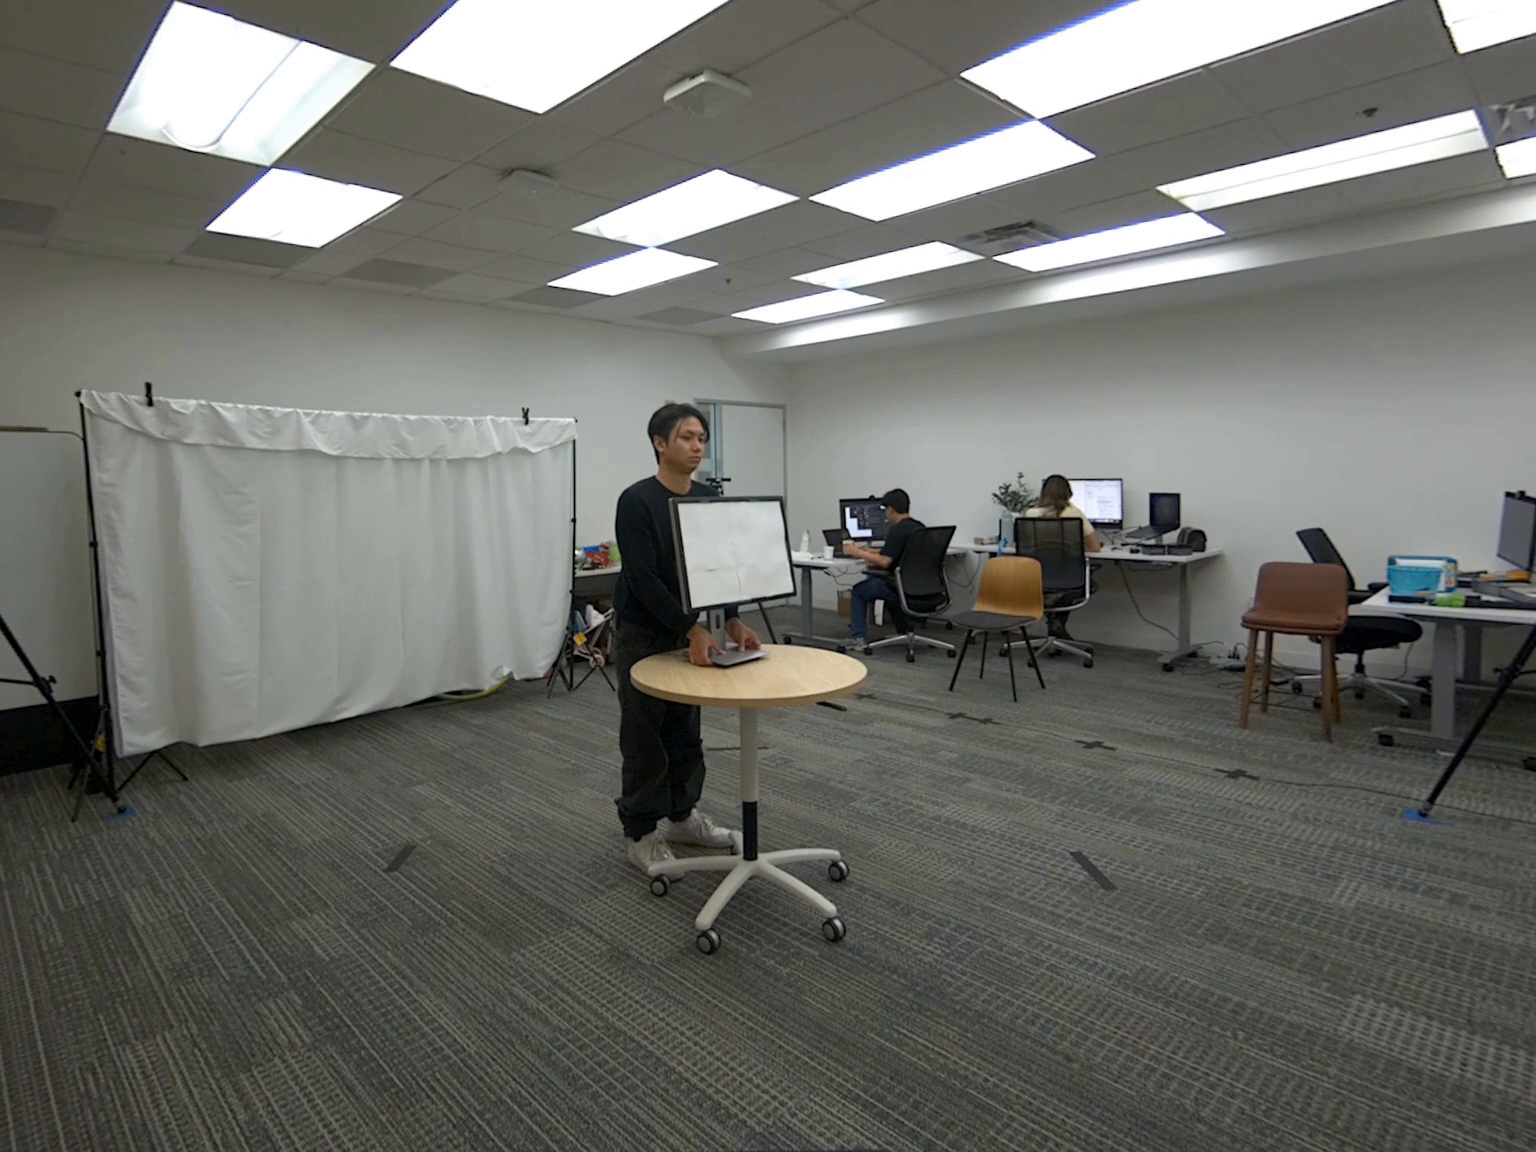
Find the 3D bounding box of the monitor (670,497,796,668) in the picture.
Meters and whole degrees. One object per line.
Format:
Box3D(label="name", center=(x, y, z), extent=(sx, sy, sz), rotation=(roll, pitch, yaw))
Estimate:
Box3D(label="monitor", center=(-0.133, 0.005, 2.886), extent=(0.193, 0.520, 0.525), rotation=(6, 8, 38))
